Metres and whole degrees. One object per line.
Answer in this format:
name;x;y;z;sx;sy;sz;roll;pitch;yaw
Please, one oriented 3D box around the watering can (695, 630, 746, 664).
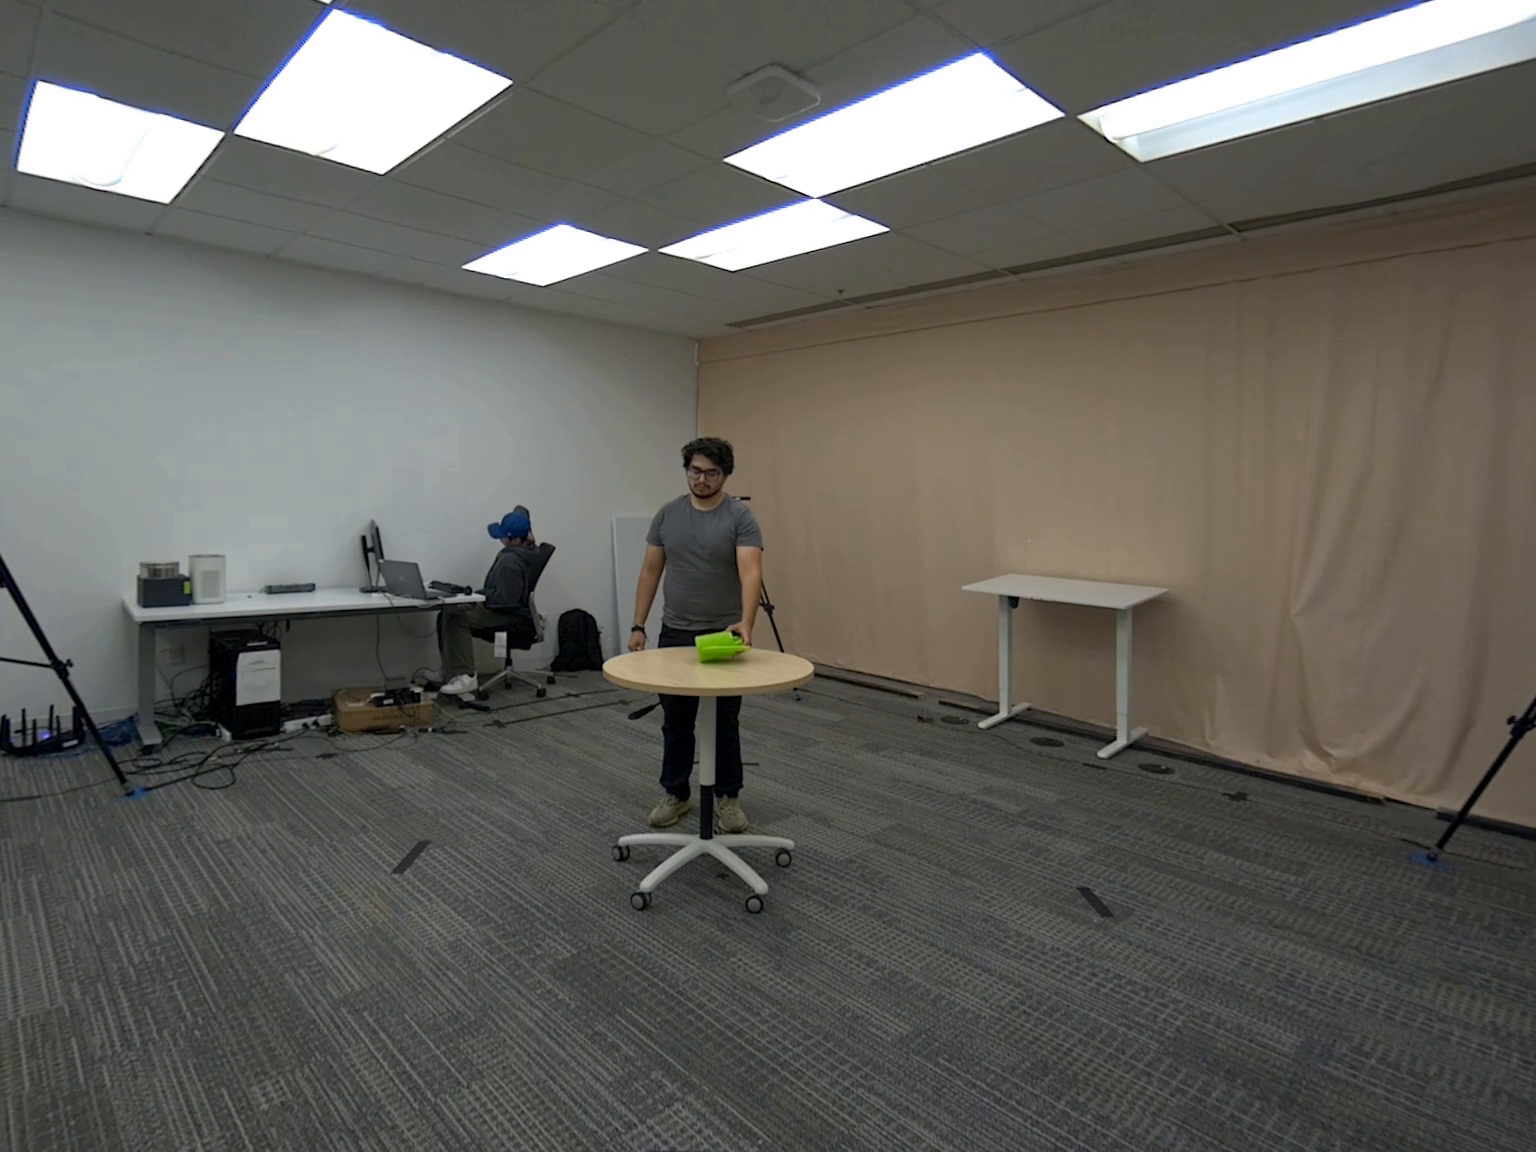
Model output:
watering can;-0.201;0.253;3.081;0.176;0.099;0.277;-10;-7;-8
